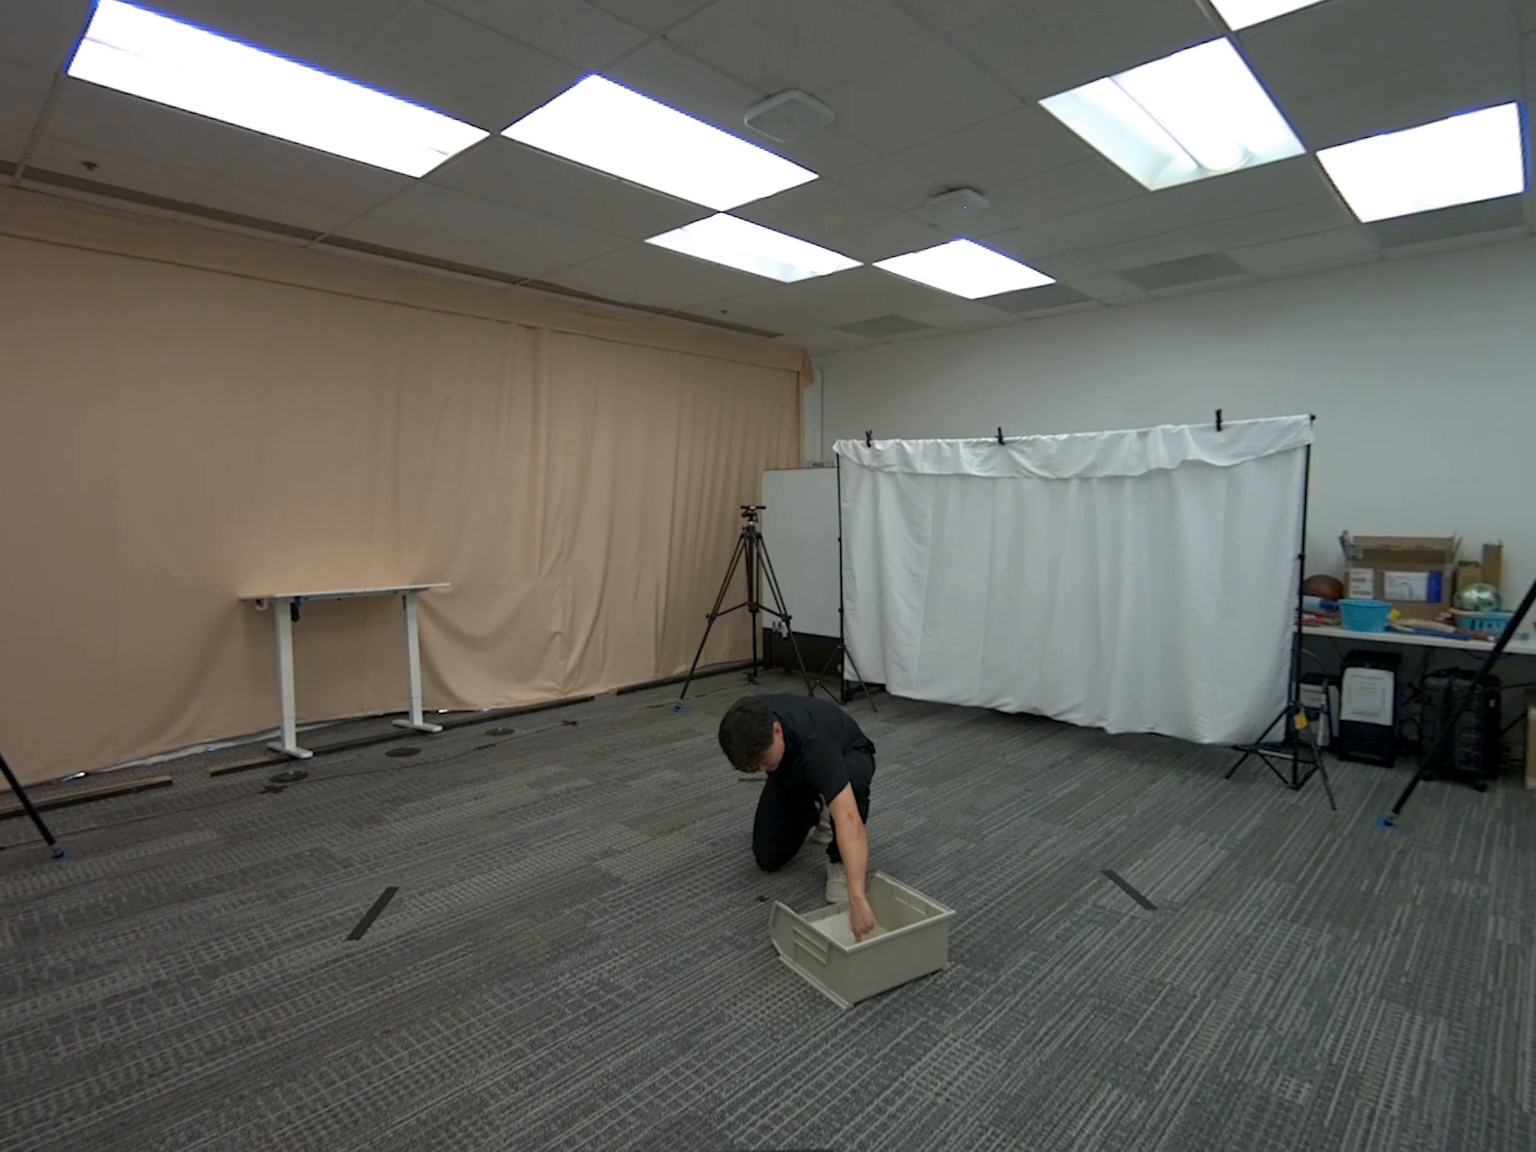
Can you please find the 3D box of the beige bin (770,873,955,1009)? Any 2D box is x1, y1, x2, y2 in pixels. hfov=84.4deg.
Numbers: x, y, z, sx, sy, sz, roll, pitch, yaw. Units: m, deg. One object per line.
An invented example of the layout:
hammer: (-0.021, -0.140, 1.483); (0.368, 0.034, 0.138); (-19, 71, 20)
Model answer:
beige bin: (0.278, 1.082, 2.574); (0.410, 0.188, 0.389); (-2, 5, -33)
